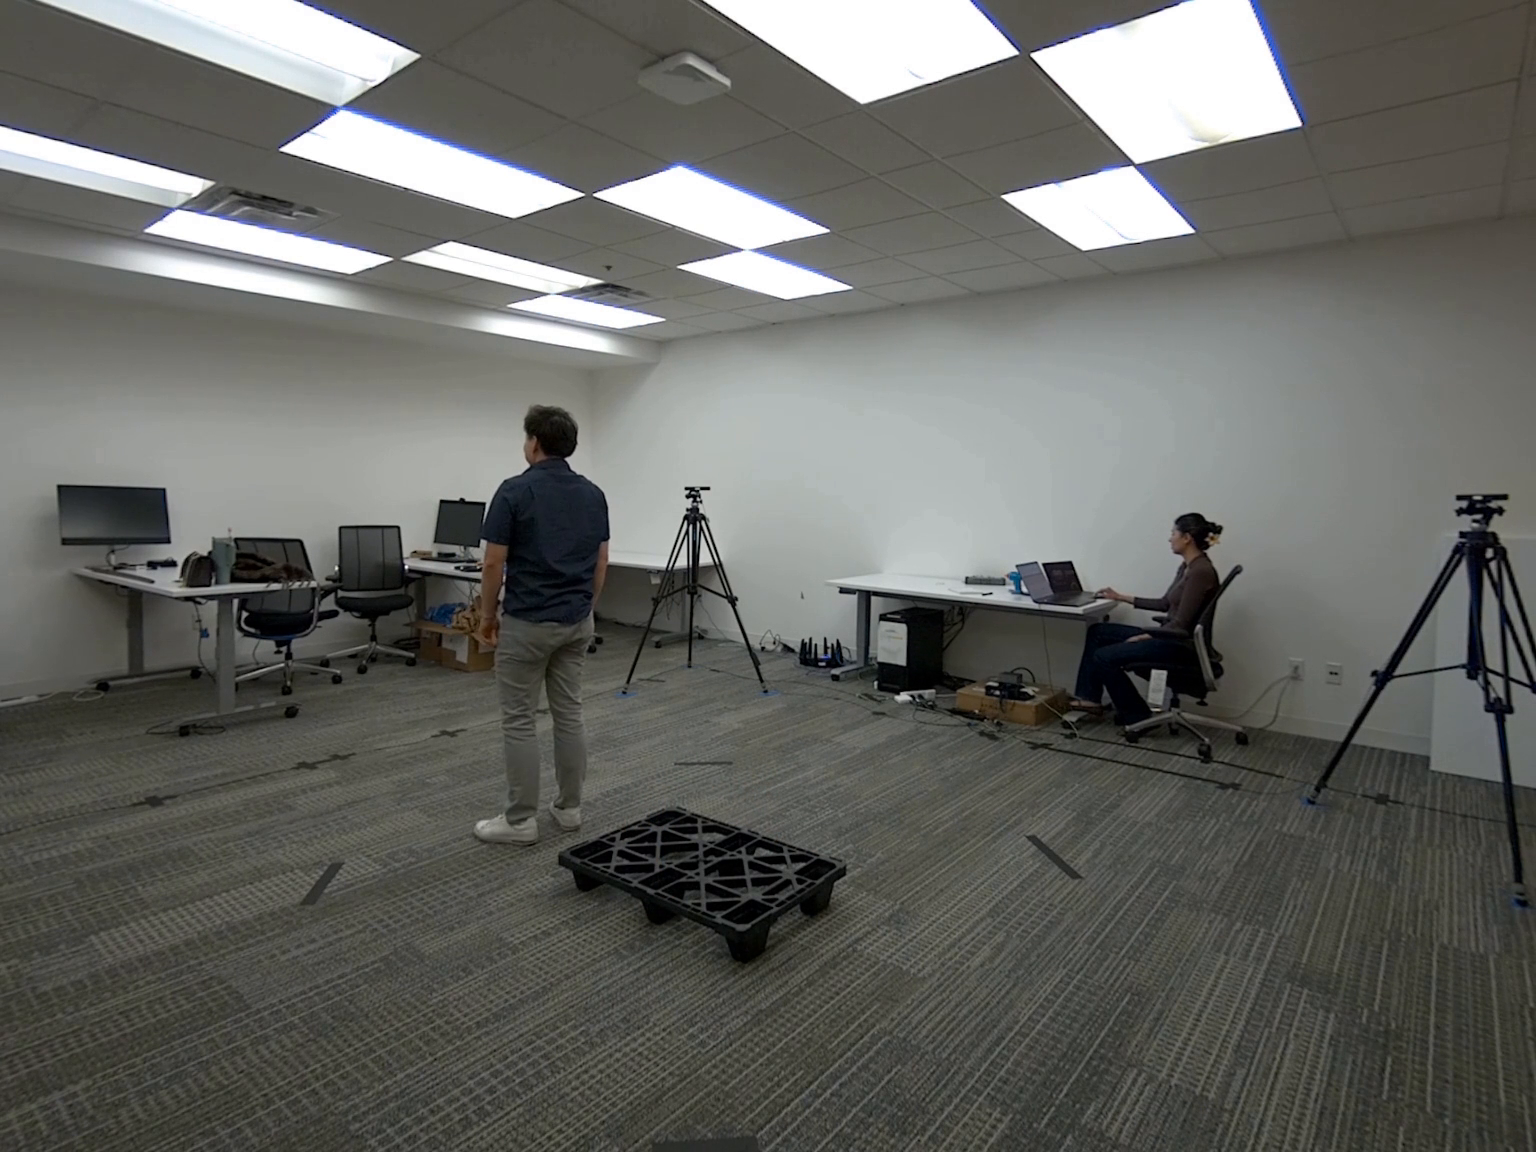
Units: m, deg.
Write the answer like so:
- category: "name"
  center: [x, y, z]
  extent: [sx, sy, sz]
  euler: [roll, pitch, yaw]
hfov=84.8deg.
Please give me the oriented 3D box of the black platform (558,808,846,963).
- category: "black platform"
  center: [-0.234, 1.020, 2.882]
  extent: [0.832, 0.143, 0.588]
  euler: [5, 7, 37]
